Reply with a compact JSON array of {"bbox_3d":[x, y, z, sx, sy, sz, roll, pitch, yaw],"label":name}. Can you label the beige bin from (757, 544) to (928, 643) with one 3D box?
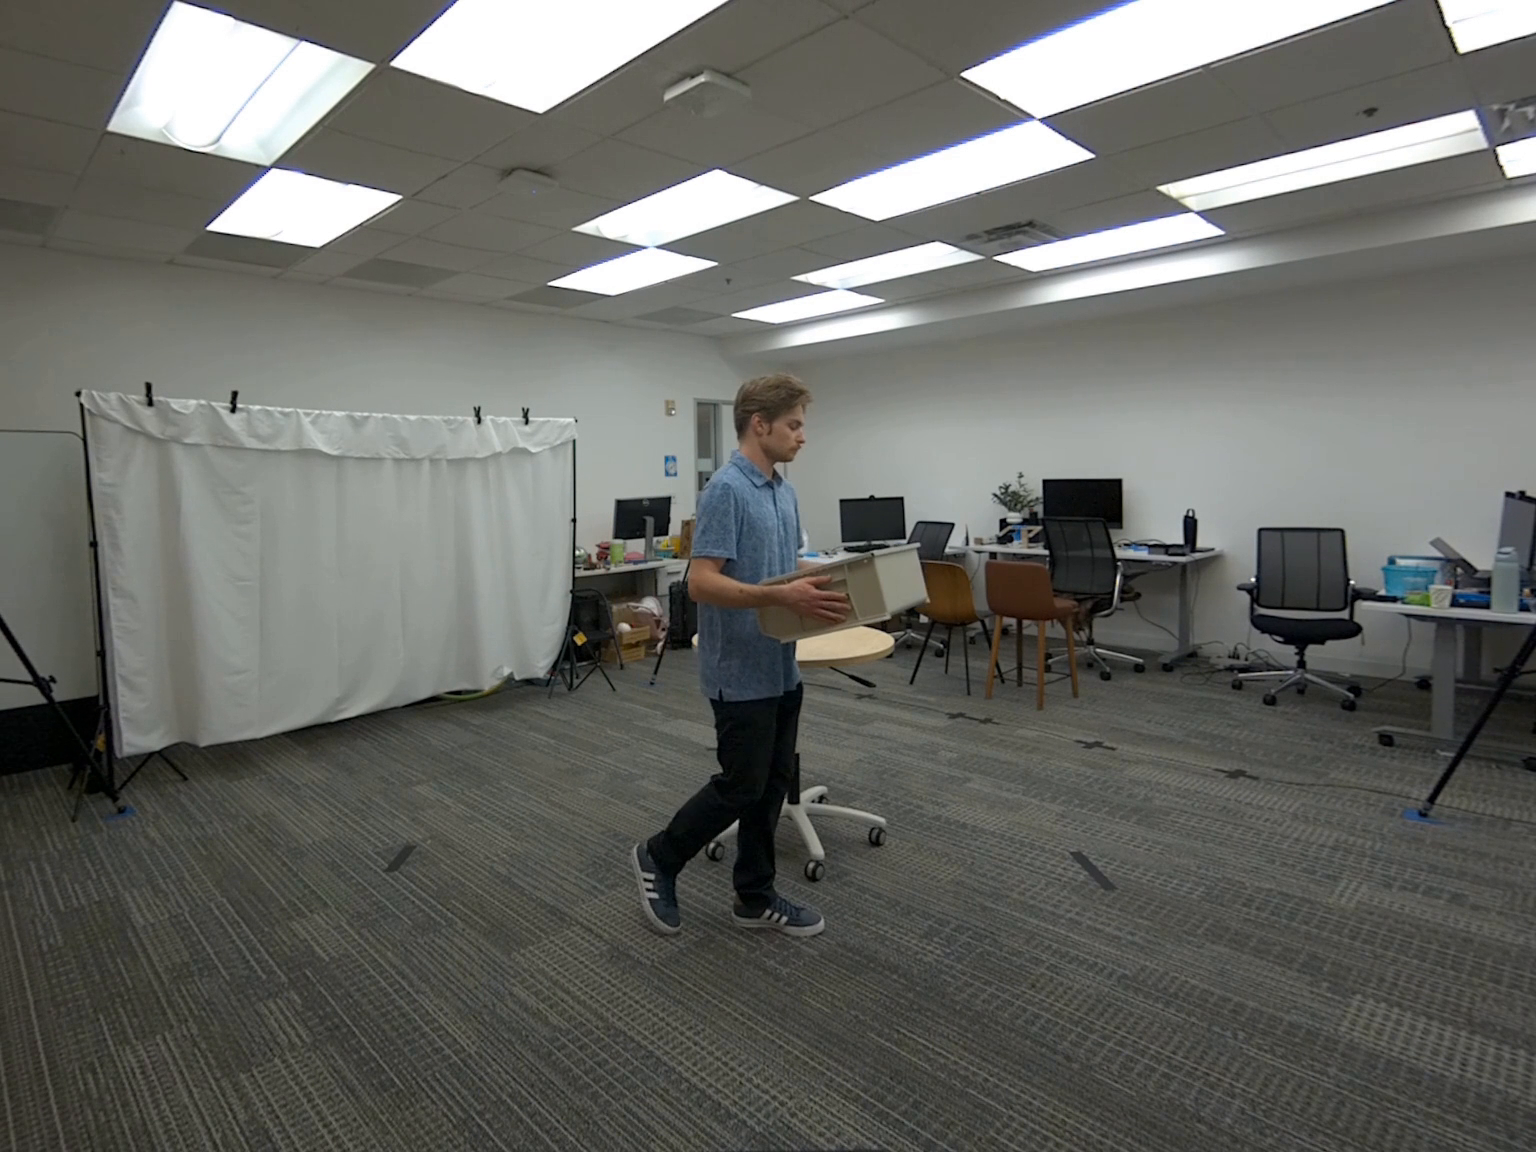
[{"bbox_3d":[0.217,0.046,2.443,0.384,0.190,0.413,-12,-2,27],"label":"beige bin"}]
